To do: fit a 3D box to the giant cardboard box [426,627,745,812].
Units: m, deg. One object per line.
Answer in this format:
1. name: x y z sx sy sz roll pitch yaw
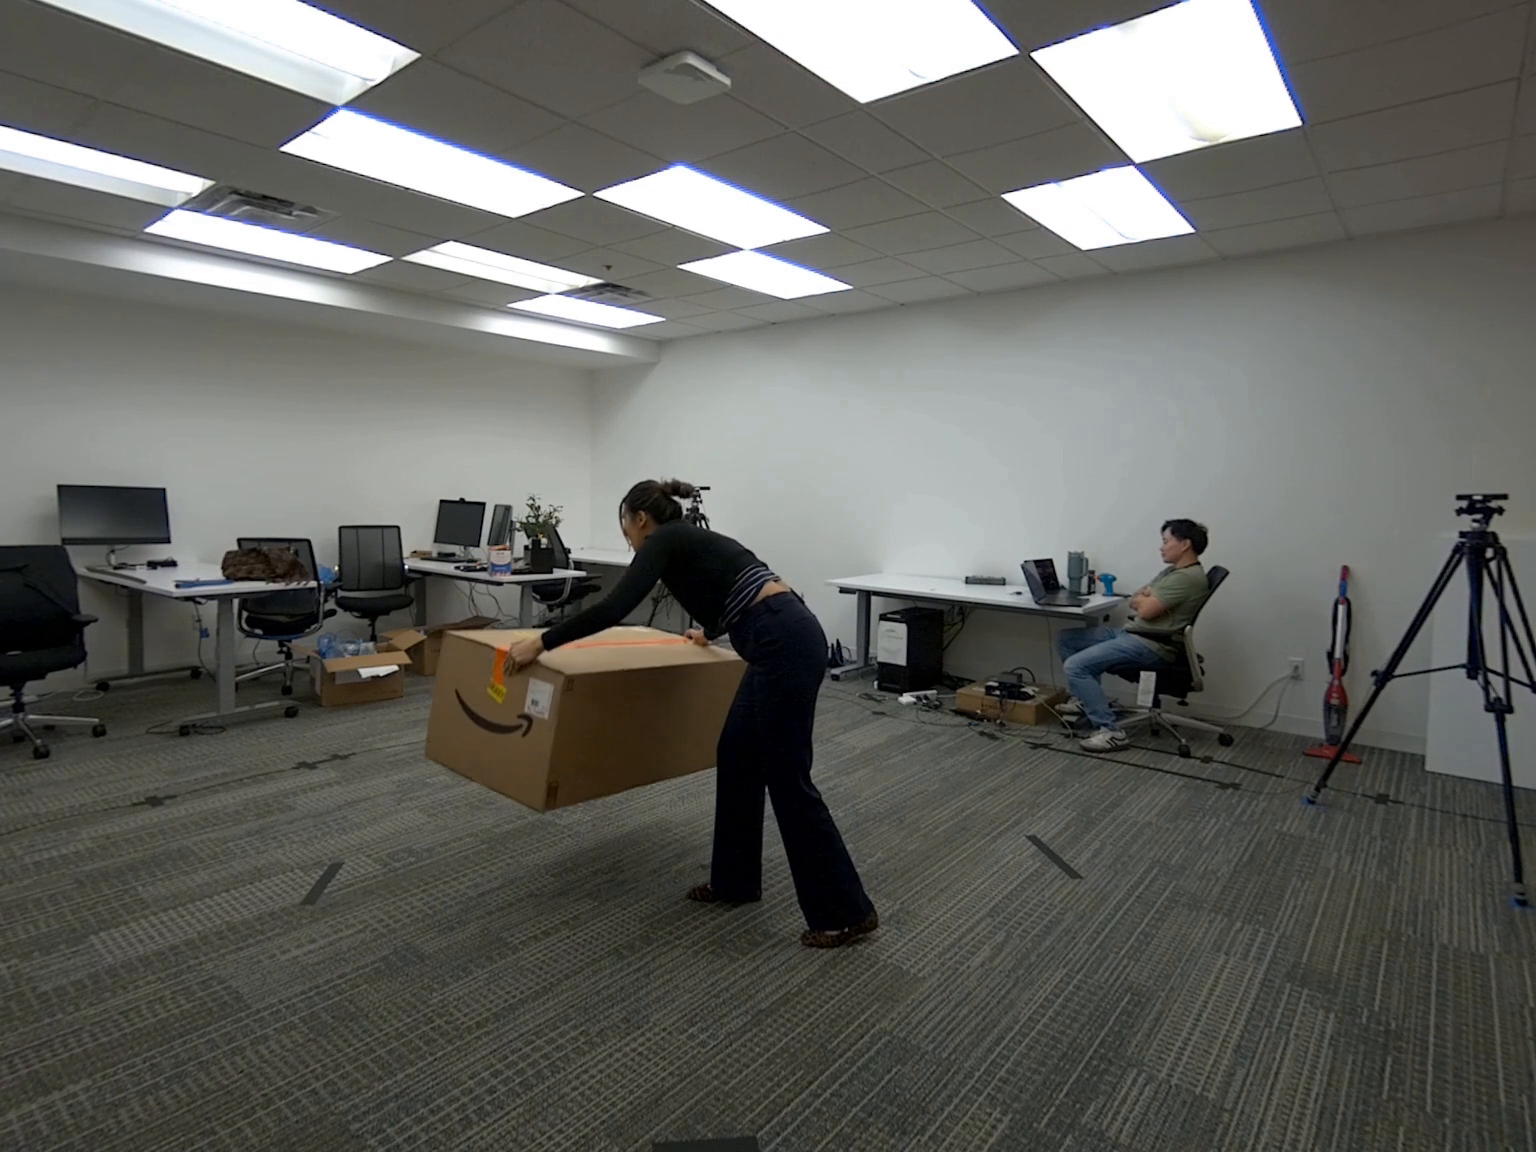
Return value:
1. giant cardboard box: -0.619 0.447 3.068 0.598 0.425 0.993 13 5 33
